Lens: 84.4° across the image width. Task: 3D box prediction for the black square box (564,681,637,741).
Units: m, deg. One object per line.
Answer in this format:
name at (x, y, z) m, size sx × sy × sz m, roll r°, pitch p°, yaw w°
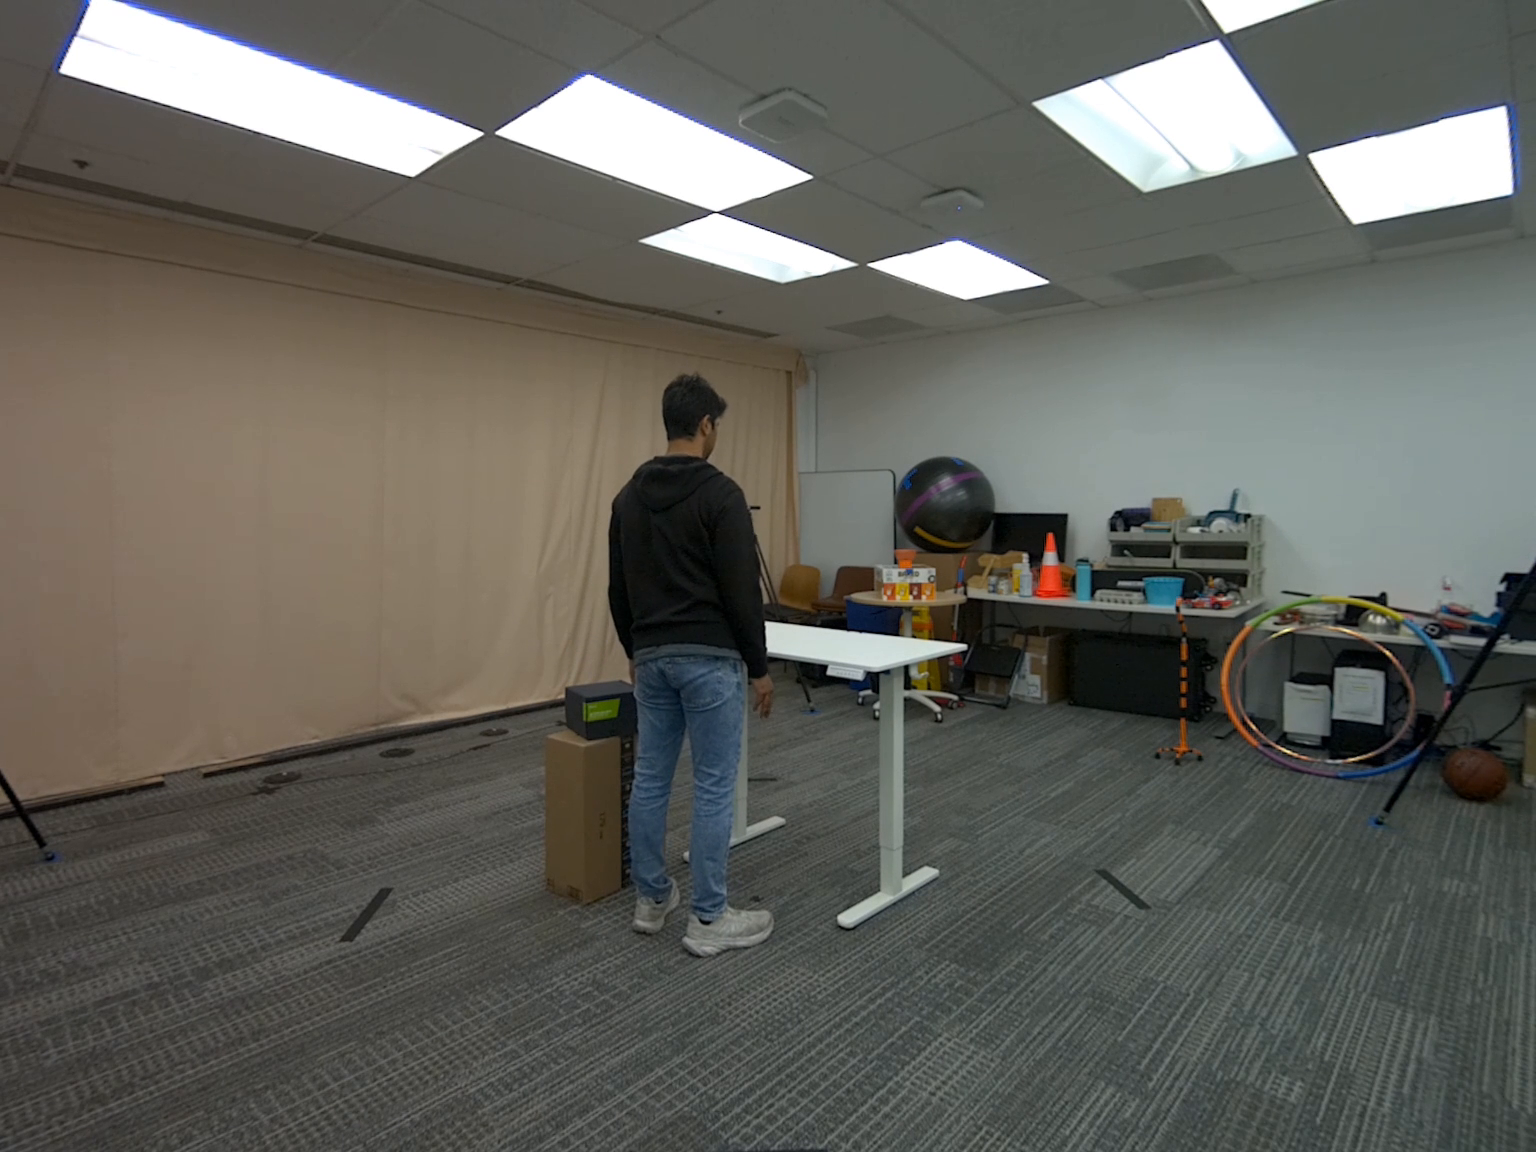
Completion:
black square box at (-0.605, 0.494, 3.129) m, size 0.221 × 0.155 × 0.224 m, roll -3°, pitch 5°, yaw -32°
